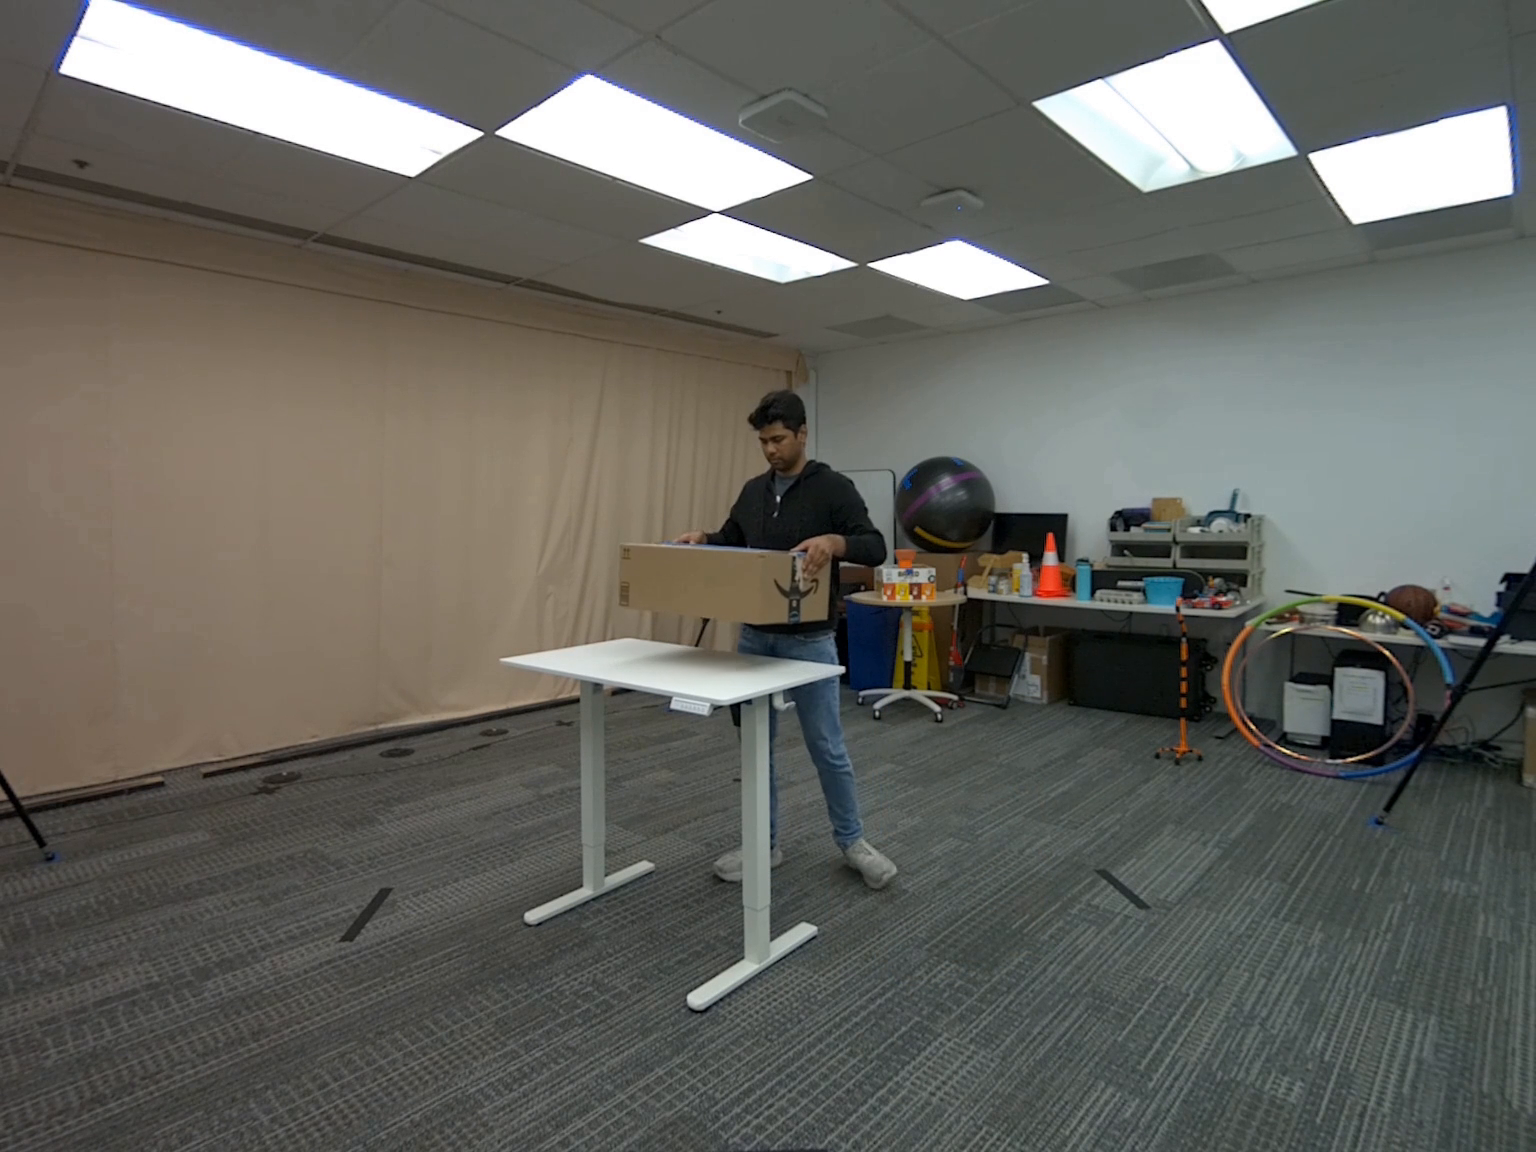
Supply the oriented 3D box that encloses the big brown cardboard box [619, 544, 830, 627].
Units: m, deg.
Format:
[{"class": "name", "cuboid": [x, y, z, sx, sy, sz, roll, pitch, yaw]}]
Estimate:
[{"class": "big brown cardboard box", "cuboid": [-0.140, 0.019, 2.807, 0.608, 0.233, 0.405, 5, 3, 35]}]
